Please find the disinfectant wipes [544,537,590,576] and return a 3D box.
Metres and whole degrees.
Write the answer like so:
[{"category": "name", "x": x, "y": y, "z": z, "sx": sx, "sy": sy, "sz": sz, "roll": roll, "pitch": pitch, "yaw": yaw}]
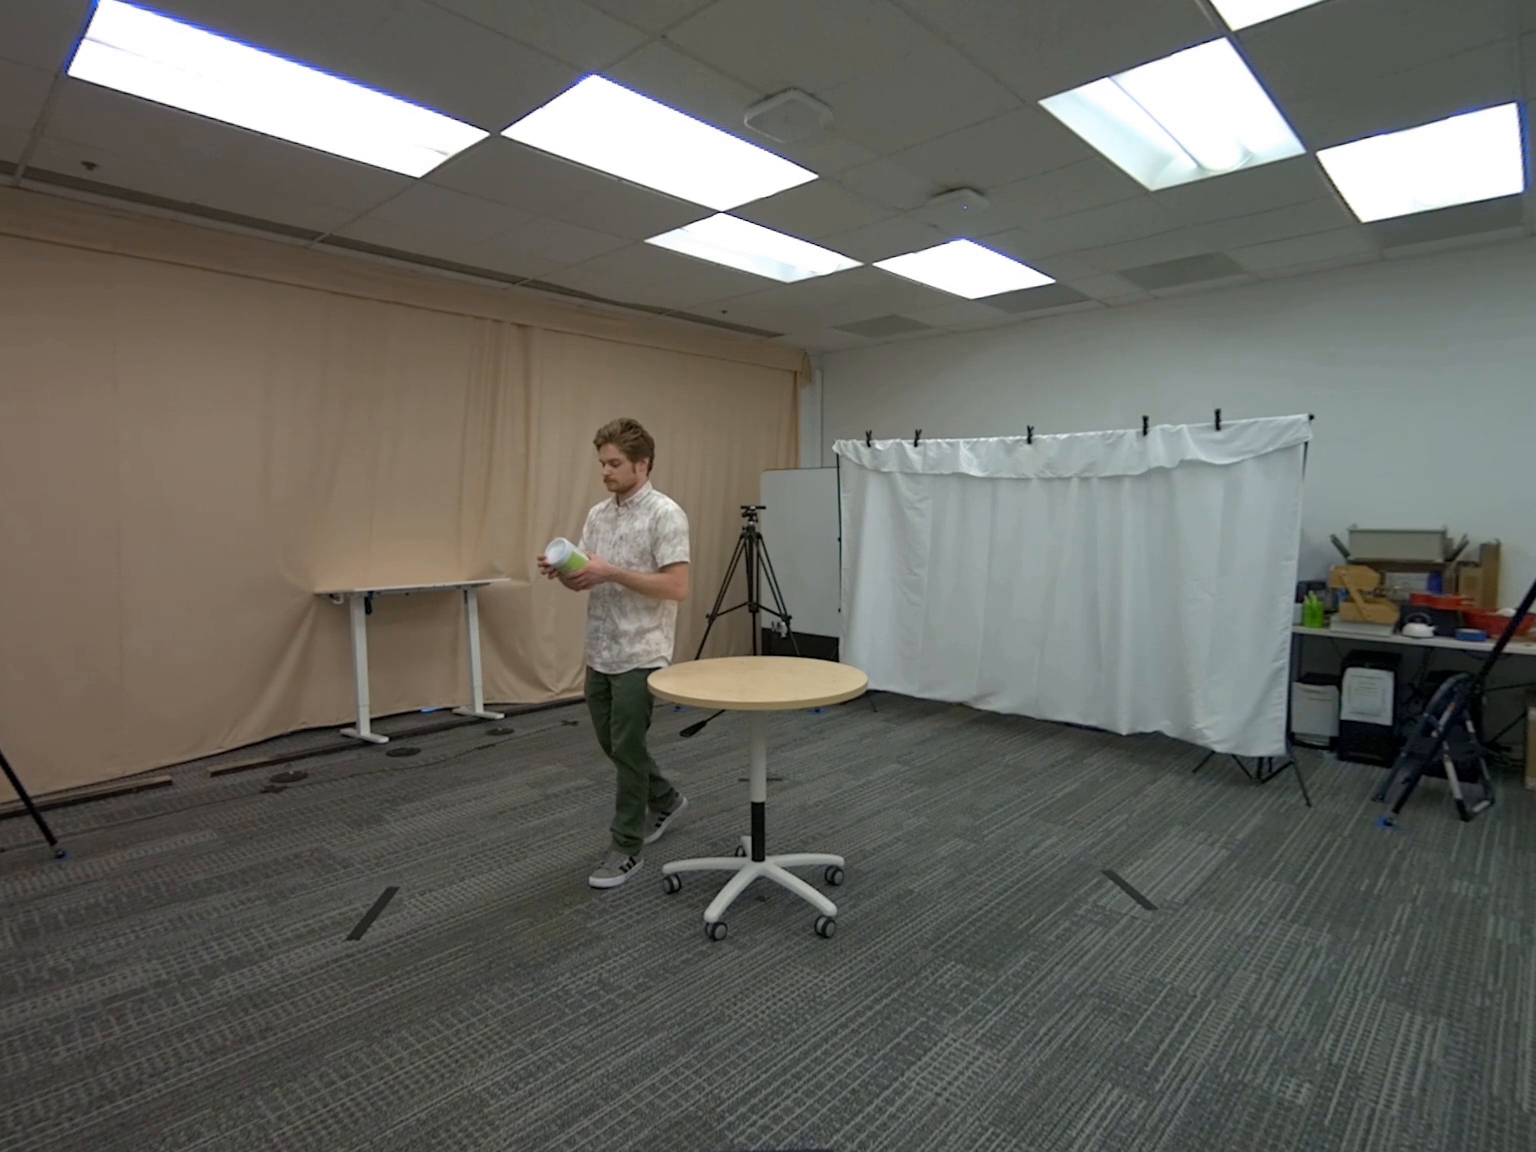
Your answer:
[{"category": "disinfectant wipes", "x": -0.705, "y": -0.044, "z": 3.031, "sx": 0.121, "sy": 0.118, "sz": 0.210, "roll": 2, "pitch": -27, "yaw": 25}]
